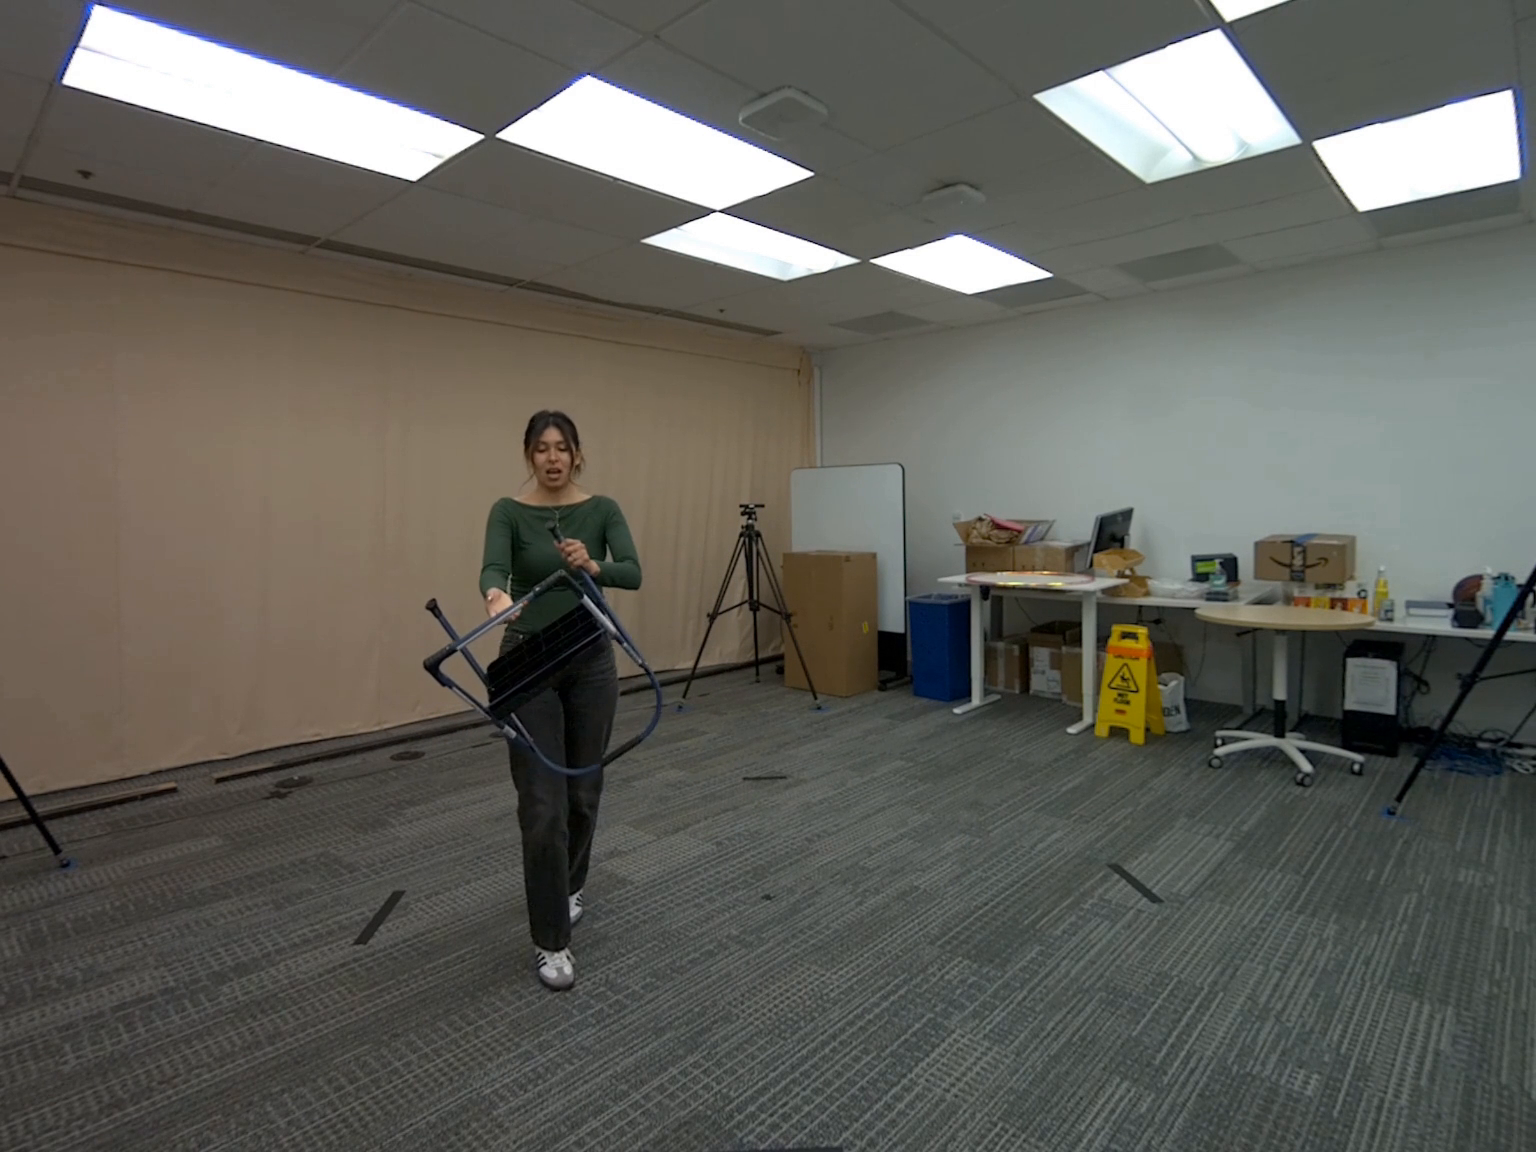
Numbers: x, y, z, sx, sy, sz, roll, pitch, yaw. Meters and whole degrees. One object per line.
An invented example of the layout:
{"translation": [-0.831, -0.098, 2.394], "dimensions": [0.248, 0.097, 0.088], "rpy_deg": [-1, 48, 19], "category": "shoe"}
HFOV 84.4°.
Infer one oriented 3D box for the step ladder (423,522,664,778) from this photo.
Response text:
{"translation": [-0.573, 0.249, 2.306], "dimensions": [0.431, 0.589, 0.359], "rpy_deg": [-33, 29, 0], "category": "step ladder"}
